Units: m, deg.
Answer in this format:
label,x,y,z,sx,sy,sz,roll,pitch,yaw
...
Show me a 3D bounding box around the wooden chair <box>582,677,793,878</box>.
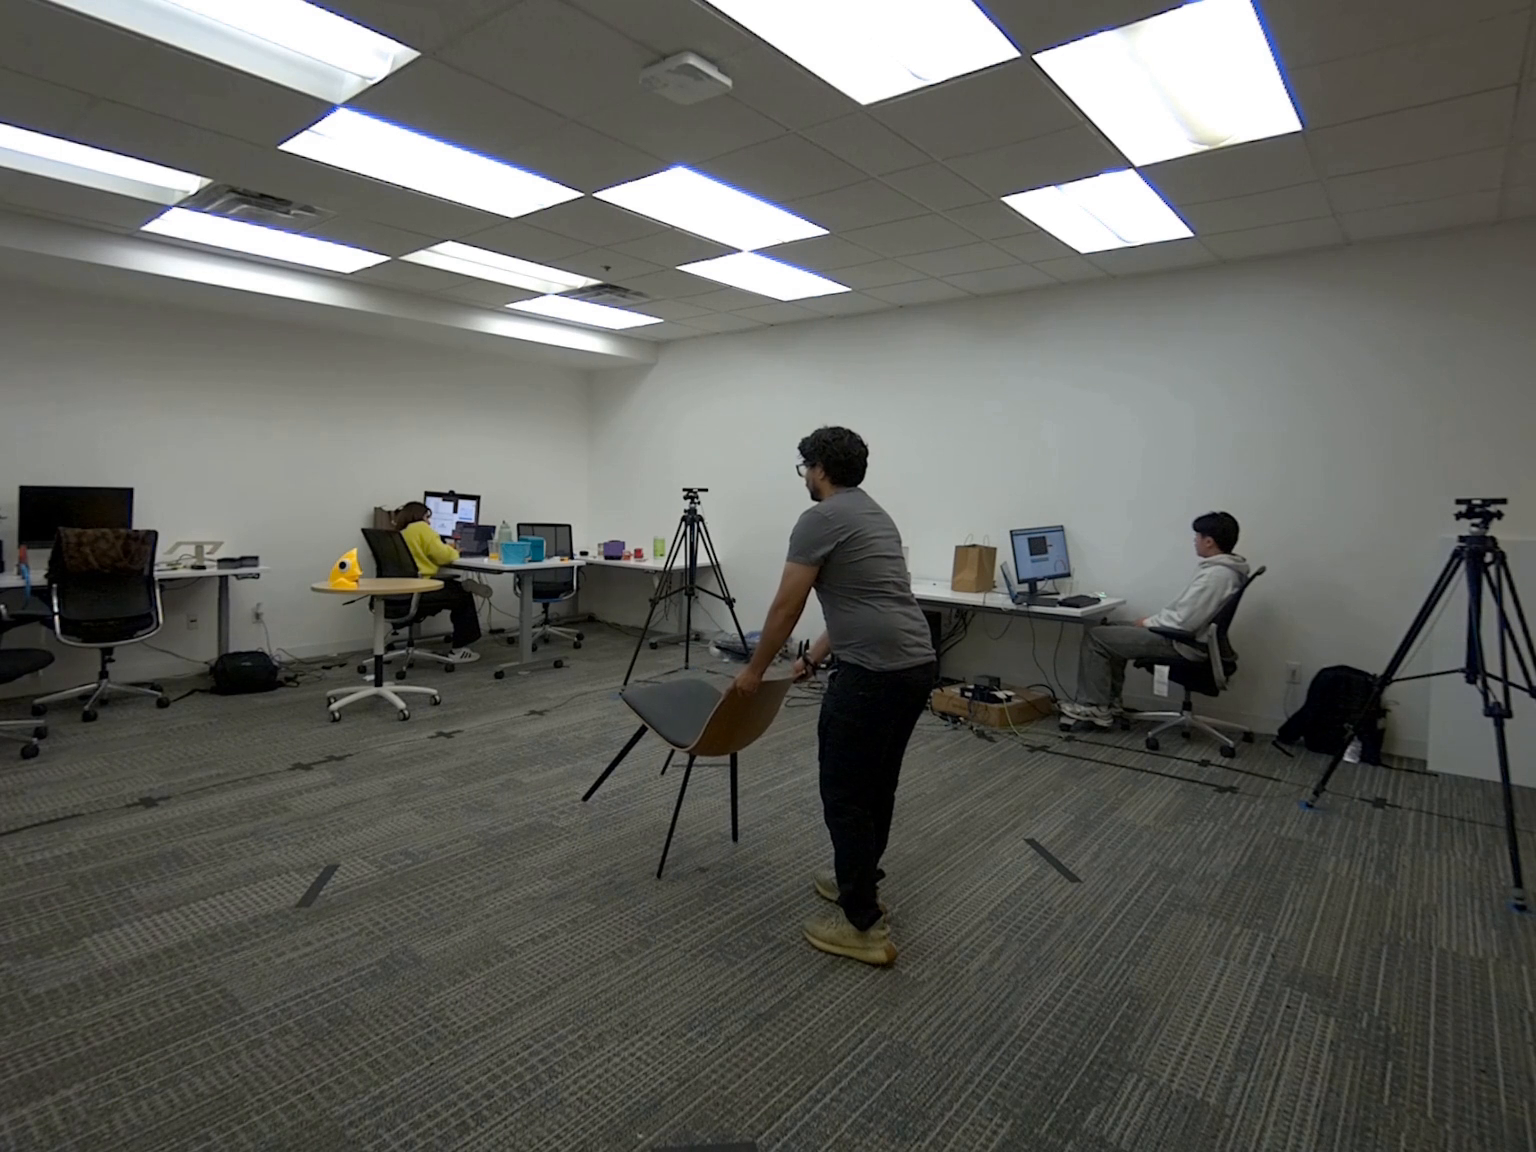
label,x,y,z,sx,sy,sz,roll,pitch,yaw
wooden chair,-0.292,0.573,3.192,0.543,0.869,0.464,38,24,31
